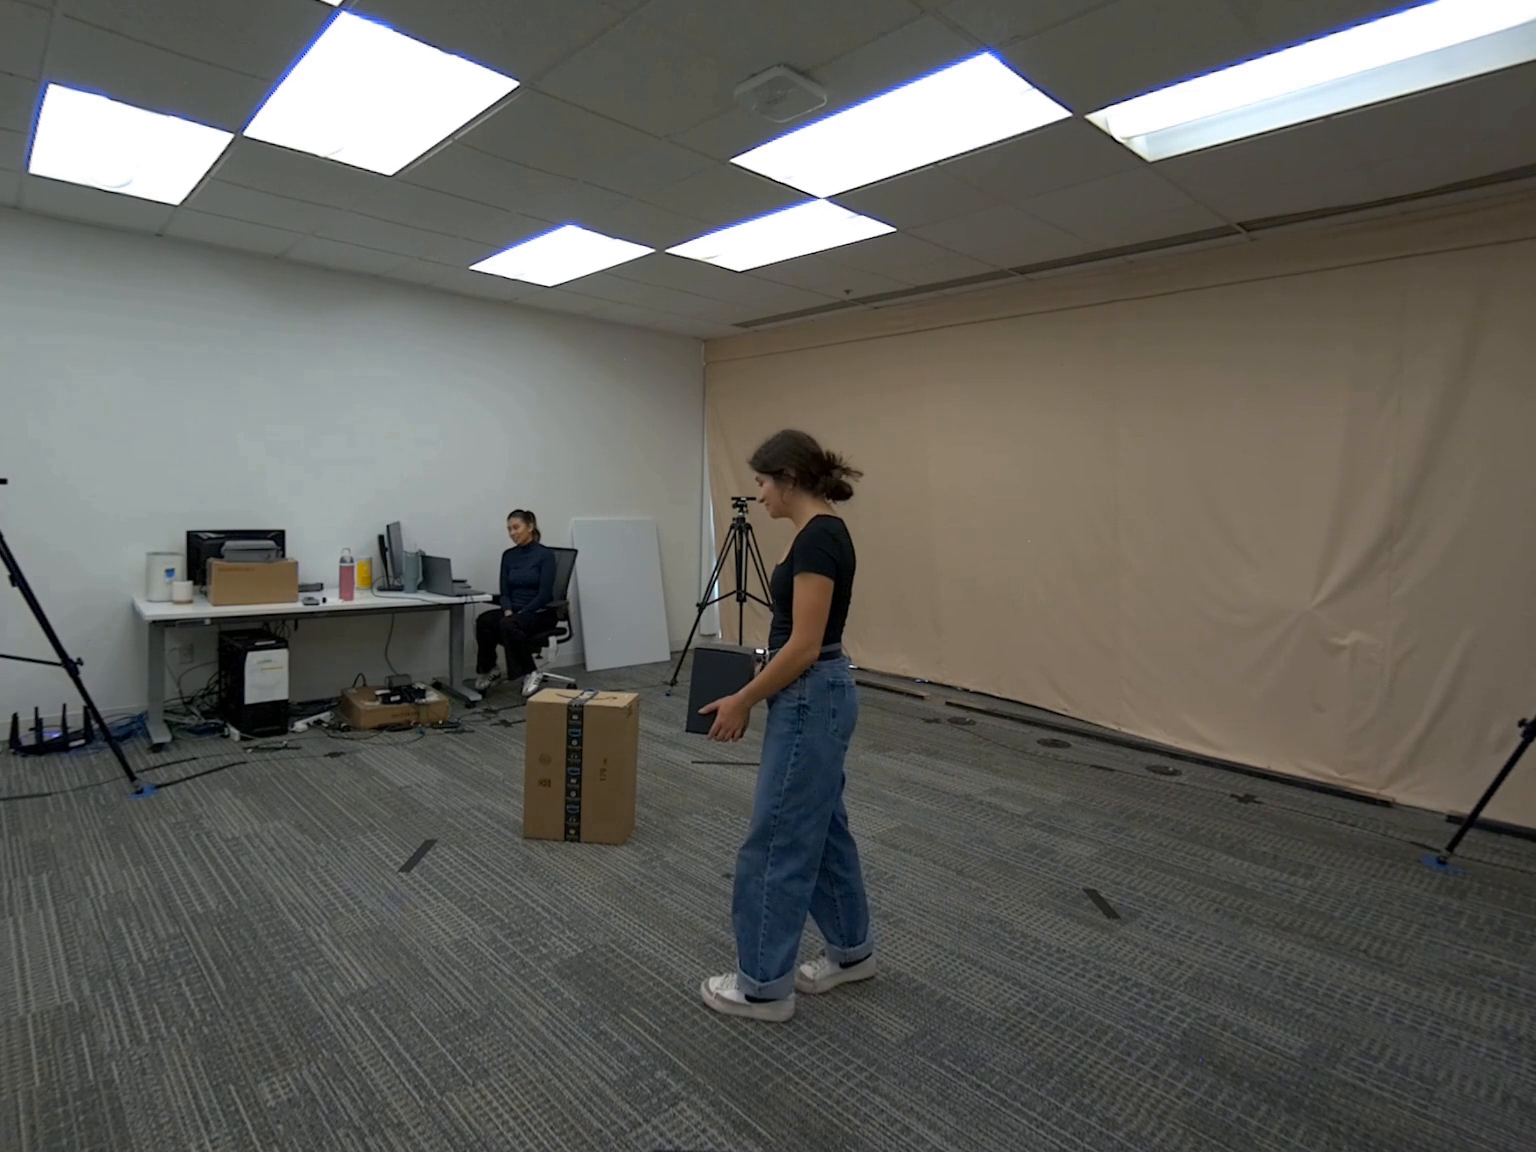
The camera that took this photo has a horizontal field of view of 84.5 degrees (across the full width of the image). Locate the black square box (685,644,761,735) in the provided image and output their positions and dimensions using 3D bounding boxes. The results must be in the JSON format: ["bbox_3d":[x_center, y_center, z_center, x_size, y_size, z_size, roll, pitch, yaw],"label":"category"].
[{"bbox_3d":[-0.132,0.309,2.359,0.156,0.228,0.216,4,-1,1],"label":"black square box"}]
